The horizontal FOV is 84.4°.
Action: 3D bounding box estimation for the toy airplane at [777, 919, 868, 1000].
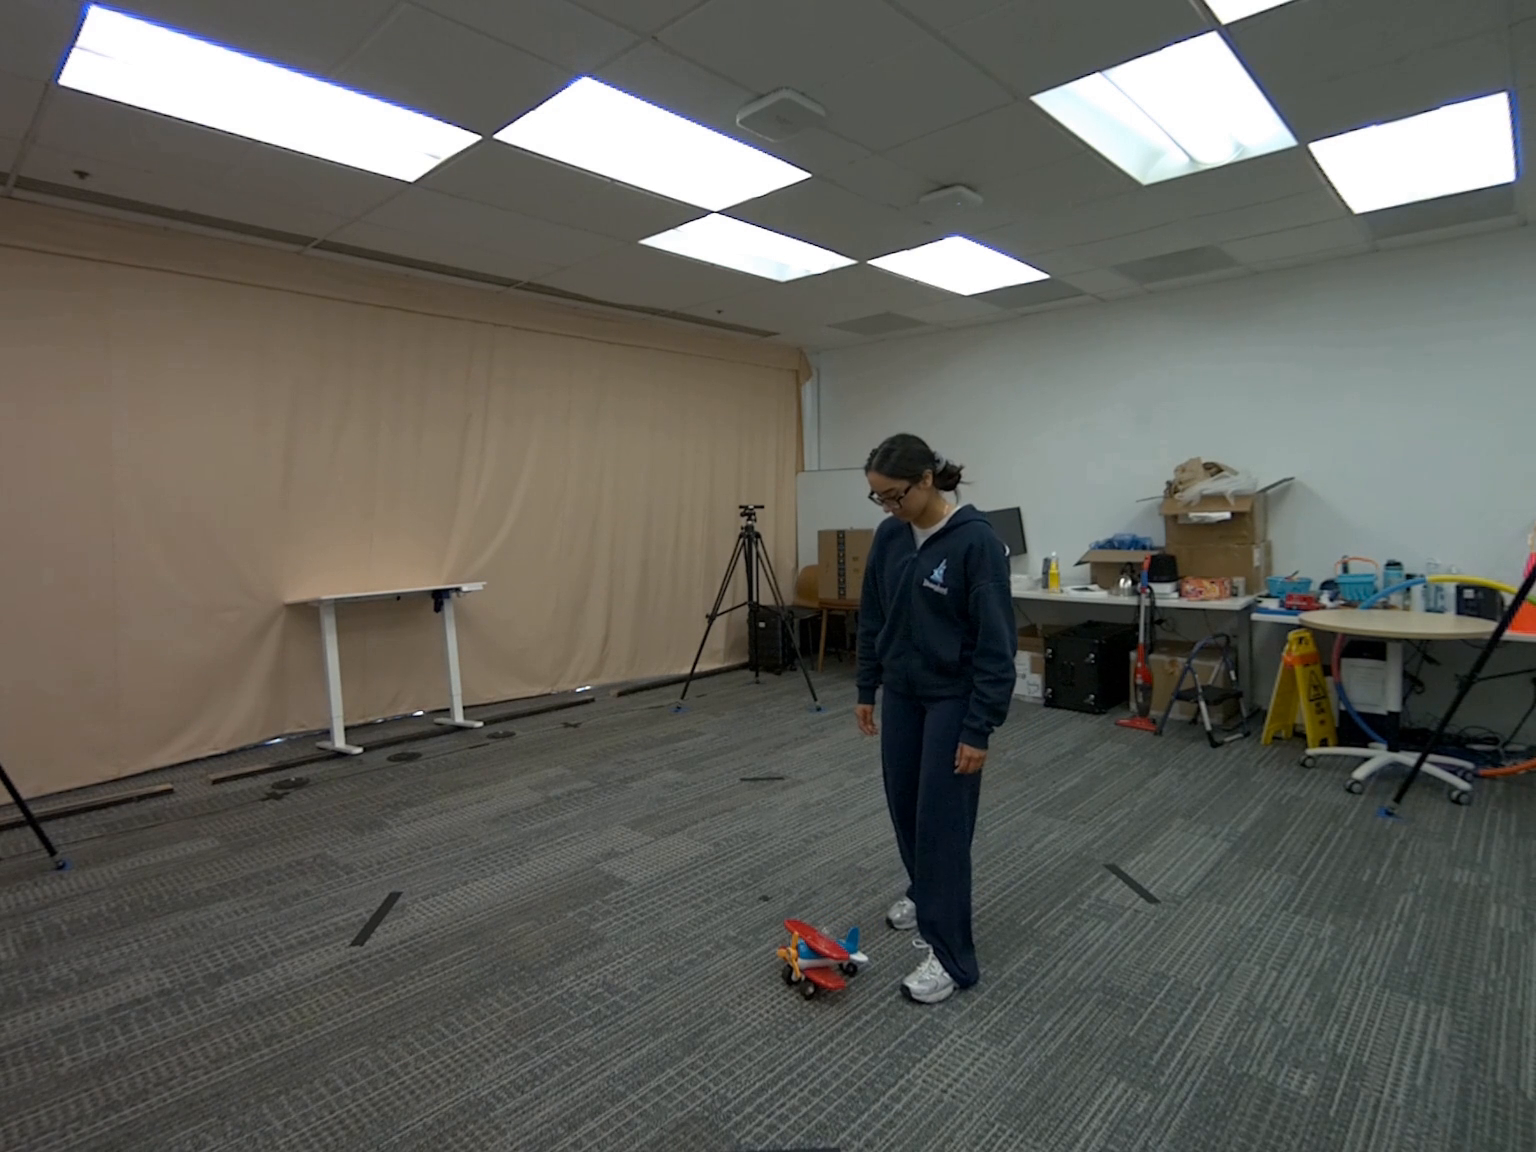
[{"bbox_3d":[0.149,1.109,2.461,0.258,0.156,0.253,1,5,29],"label":"toy airplane"}]
